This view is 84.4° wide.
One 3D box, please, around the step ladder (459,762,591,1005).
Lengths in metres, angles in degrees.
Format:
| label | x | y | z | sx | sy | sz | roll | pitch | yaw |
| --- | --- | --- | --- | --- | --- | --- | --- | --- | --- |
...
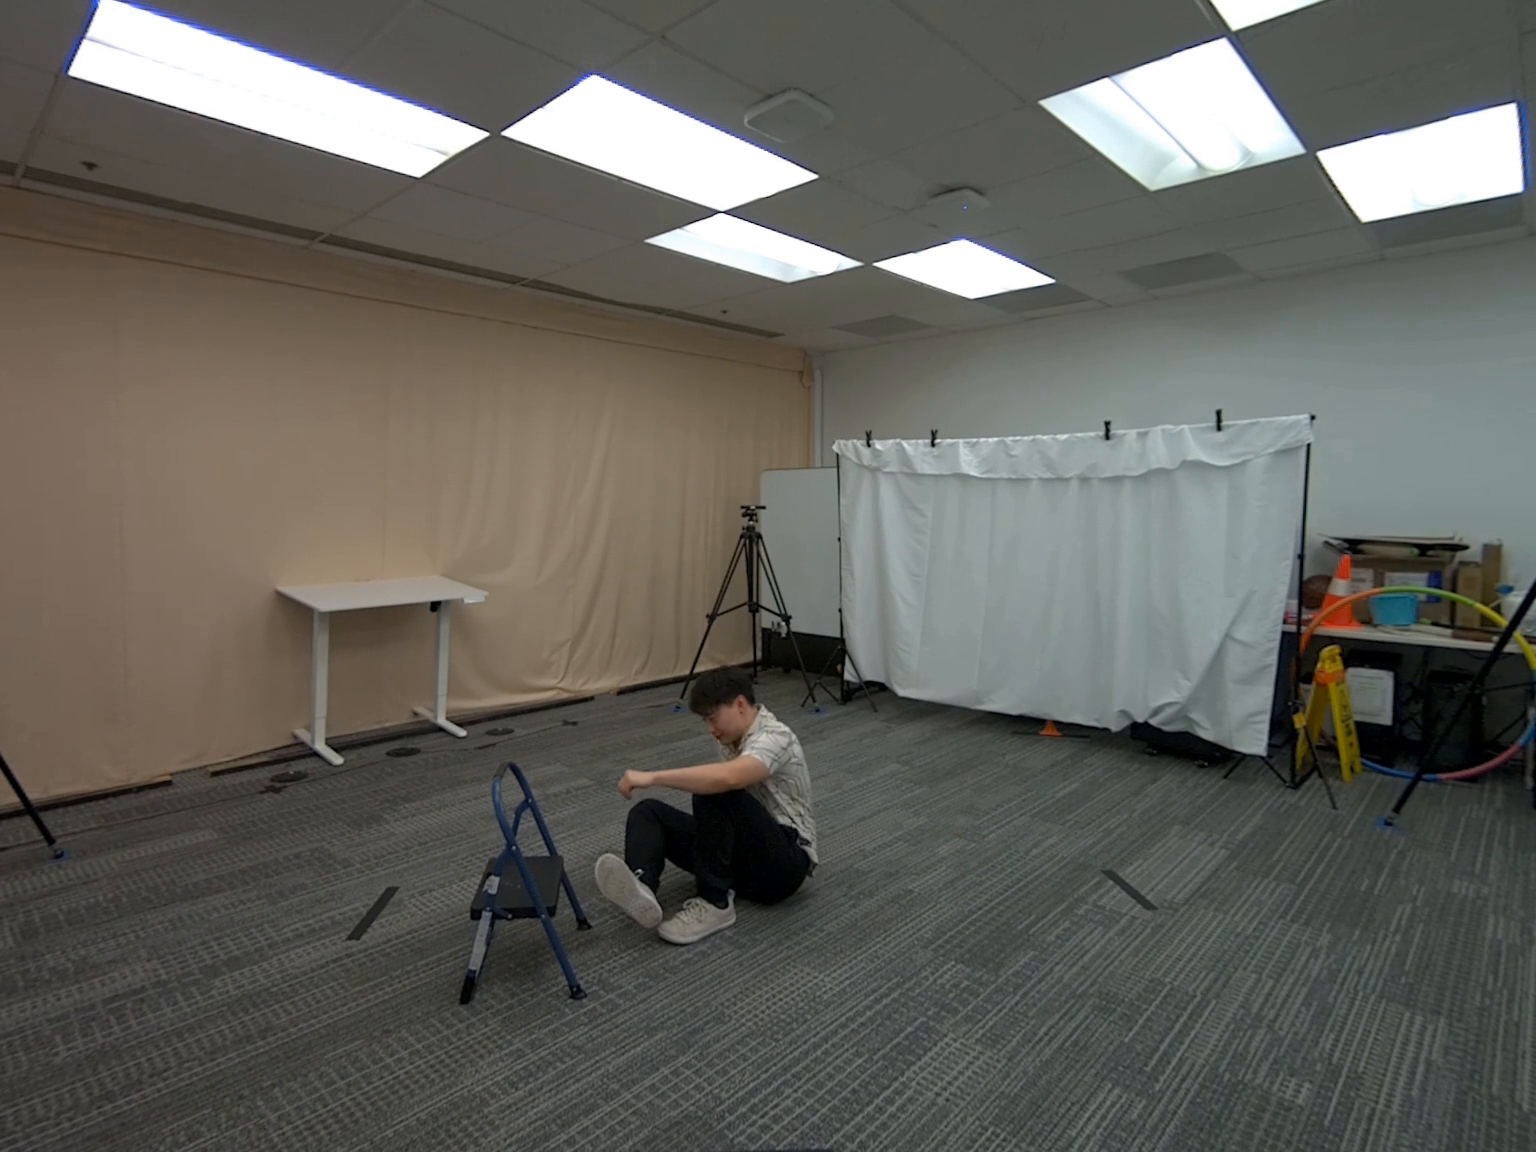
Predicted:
| label | x | y | z | sx | sy | sz | roll | pitch | yaw |
| --- | --- | --- | --- | --- | --- | --- | --- | --- | --- |
| step ladder | -0.731 | 0.885 | 2.555 | 0.346 | 0.605 | 0.435 | -1 | 3 | -9 |
